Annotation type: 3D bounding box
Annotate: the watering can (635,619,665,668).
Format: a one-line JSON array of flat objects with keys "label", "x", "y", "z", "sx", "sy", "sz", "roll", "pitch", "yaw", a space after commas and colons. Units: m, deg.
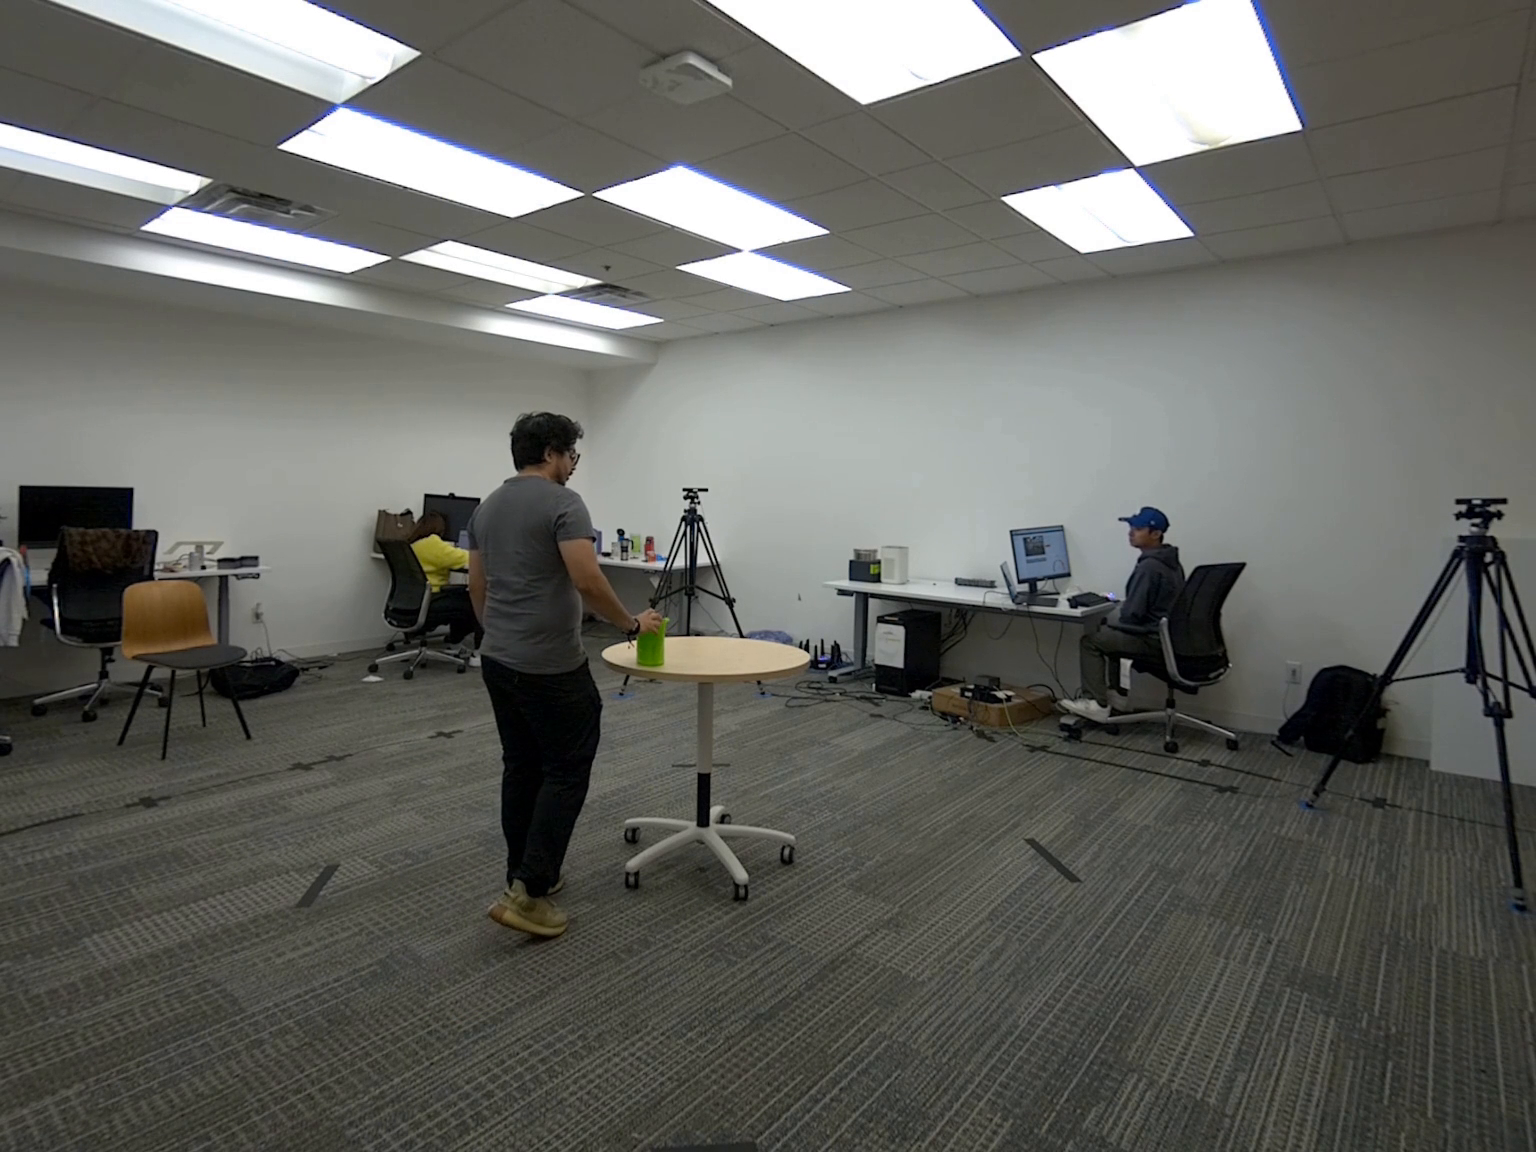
[{"label": "watering can", "x": -0.406, "y": 0.219, "z": 2.894, "sx": 0.097, "sy": 0.177, "sz": 0.281, "roll": 3, "pitch": -2, "yaw": -13}]
